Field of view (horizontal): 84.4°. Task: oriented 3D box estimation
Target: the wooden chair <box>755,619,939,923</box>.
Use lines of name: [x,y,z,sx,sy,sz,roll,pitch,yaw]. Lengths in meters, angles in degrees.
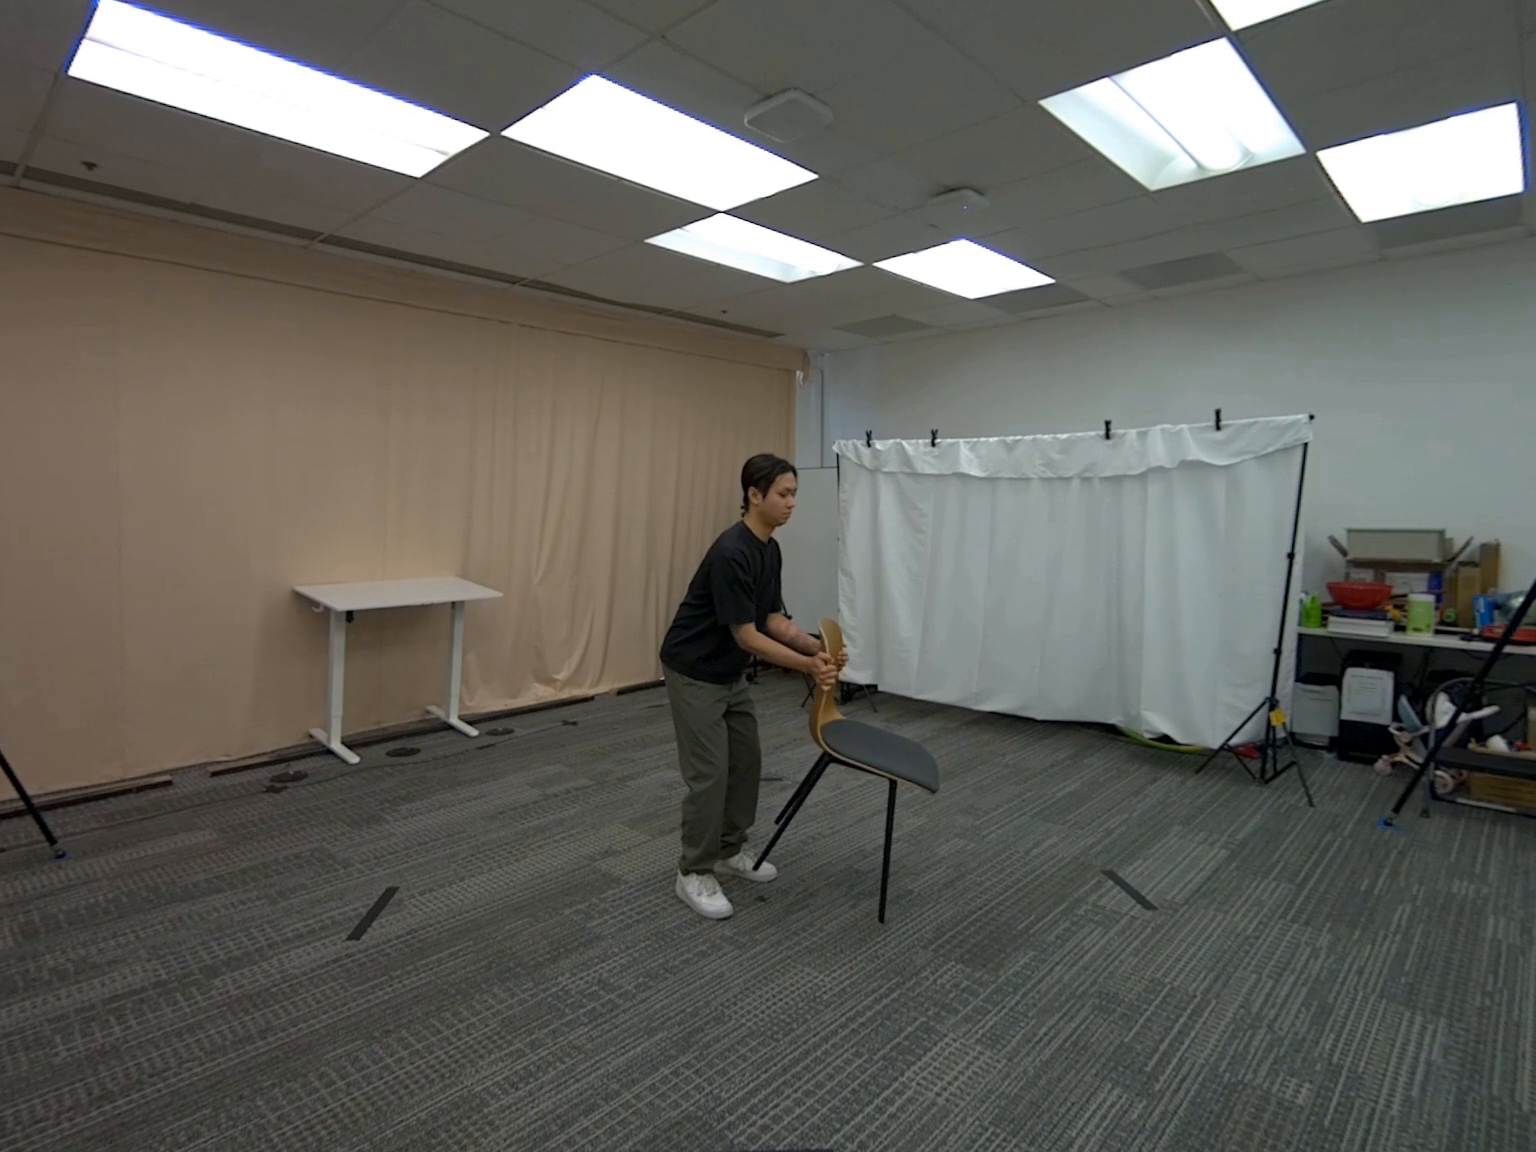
wooden chair: [0.336,0.647,2.928,0.531,0.875,0.472,14,5,11]
